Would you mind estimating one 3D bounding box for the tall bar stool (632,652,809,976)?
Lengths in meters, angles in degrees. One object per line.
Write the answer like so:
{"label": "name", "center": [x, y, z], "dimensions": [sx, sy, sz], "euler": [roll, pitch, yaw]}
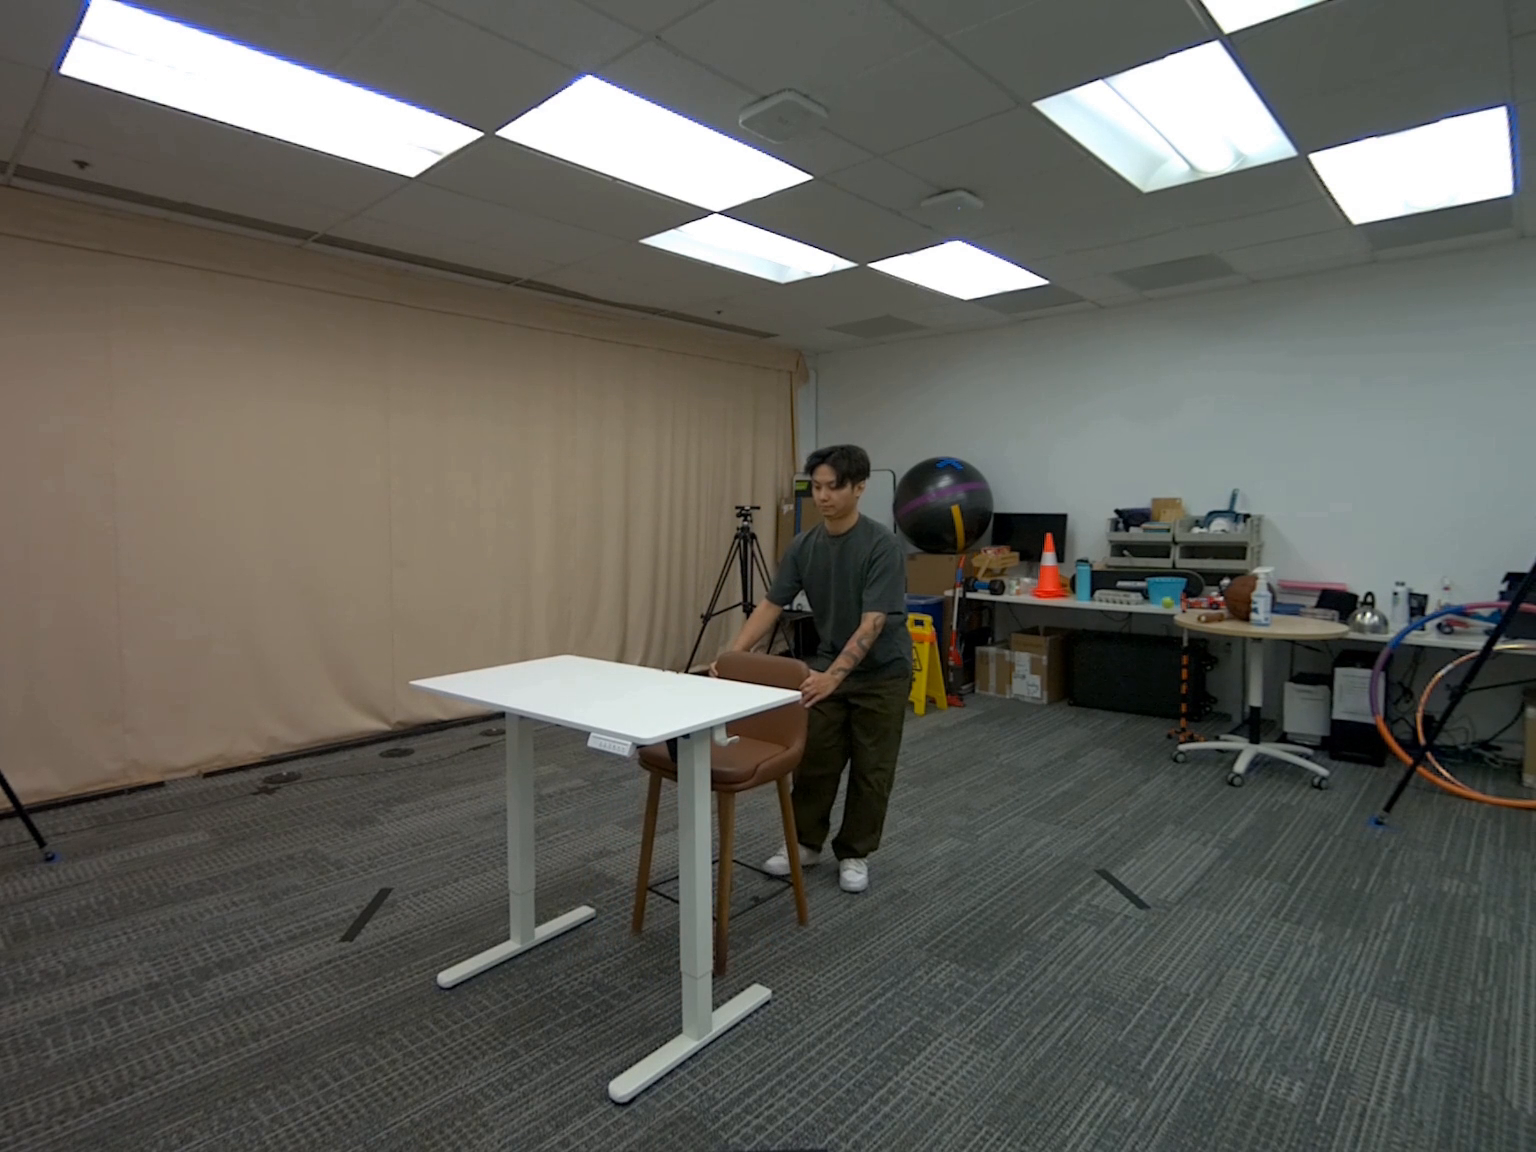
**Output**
{"label": "tall bar stool", "center": [-0.136, 0.722, 2.764], "dimensions": [0.472, 0.889, 0.452], "euler": [3, 2, 43]}
